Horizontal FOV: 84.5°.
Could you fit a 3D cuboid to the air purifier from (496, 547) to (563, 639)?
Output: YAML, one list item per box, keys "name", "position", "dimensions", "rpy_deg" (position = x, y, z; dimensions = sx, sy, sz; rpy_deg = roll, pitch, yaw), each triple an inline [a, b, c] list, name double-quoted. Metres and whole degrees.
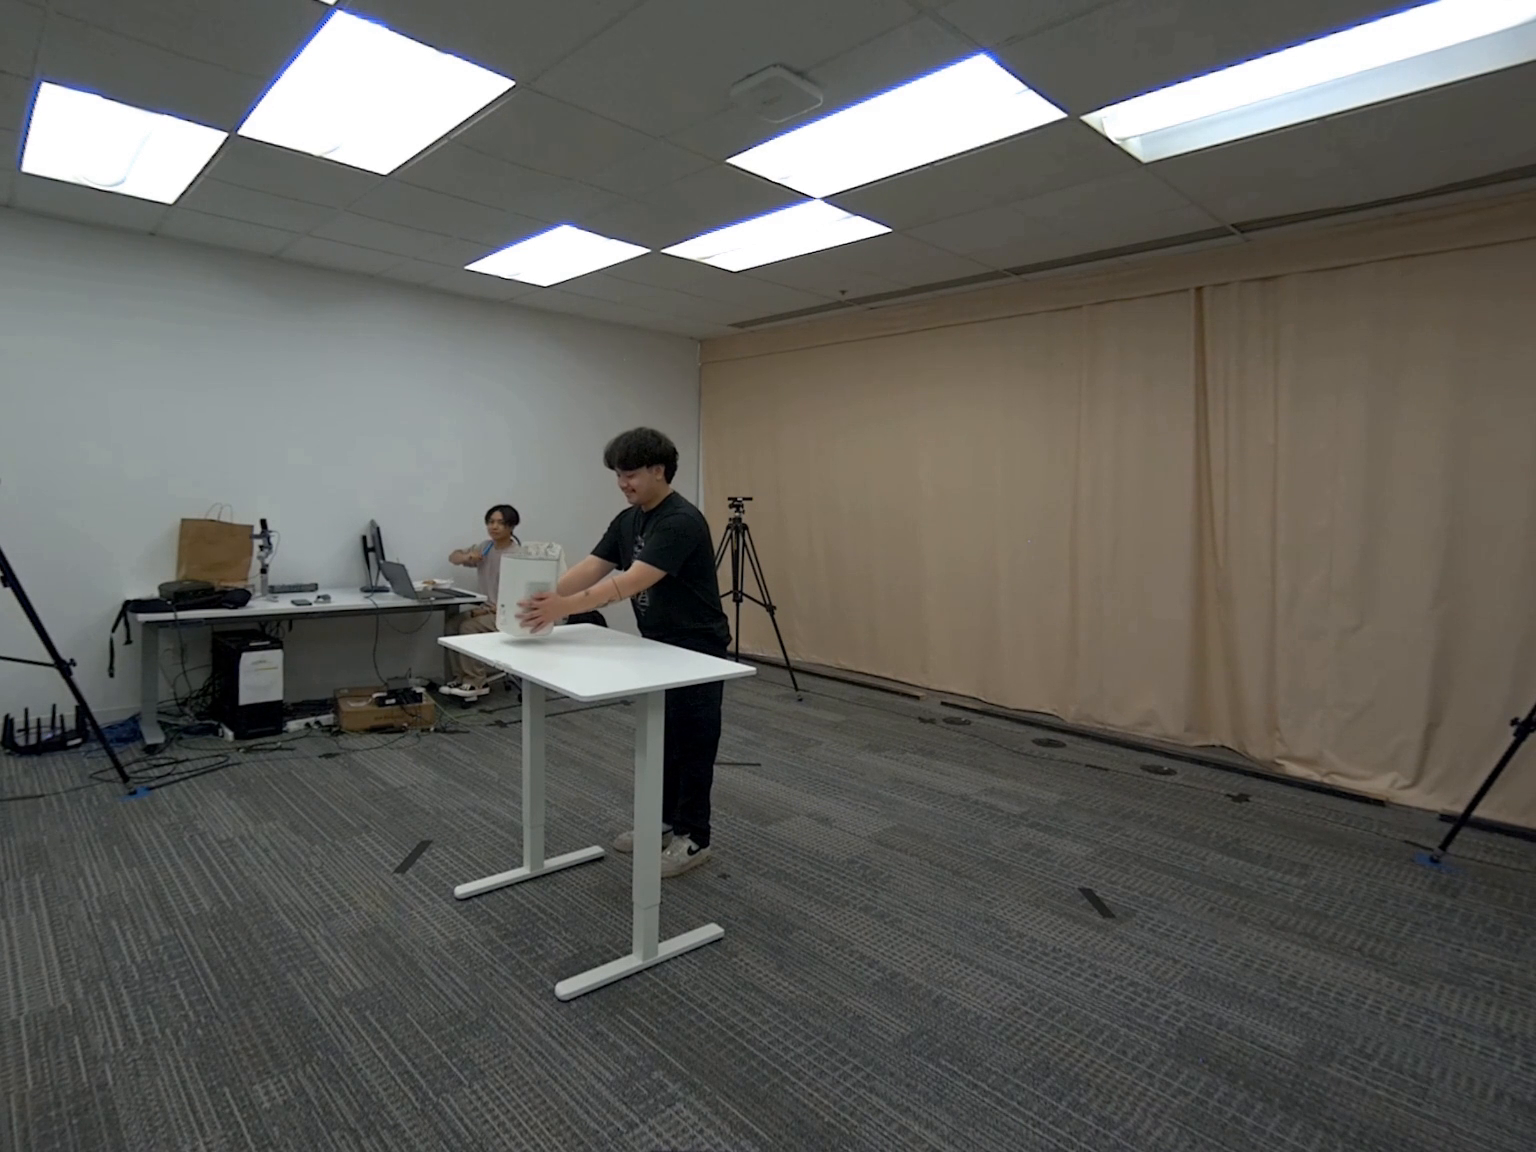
- name: "air purifier"
  position: [-0.827, 0.065, 2.883]
  dimensions: [0.167, 0.265, 0.175]
  rpy_deg: [4, 2, -42]
